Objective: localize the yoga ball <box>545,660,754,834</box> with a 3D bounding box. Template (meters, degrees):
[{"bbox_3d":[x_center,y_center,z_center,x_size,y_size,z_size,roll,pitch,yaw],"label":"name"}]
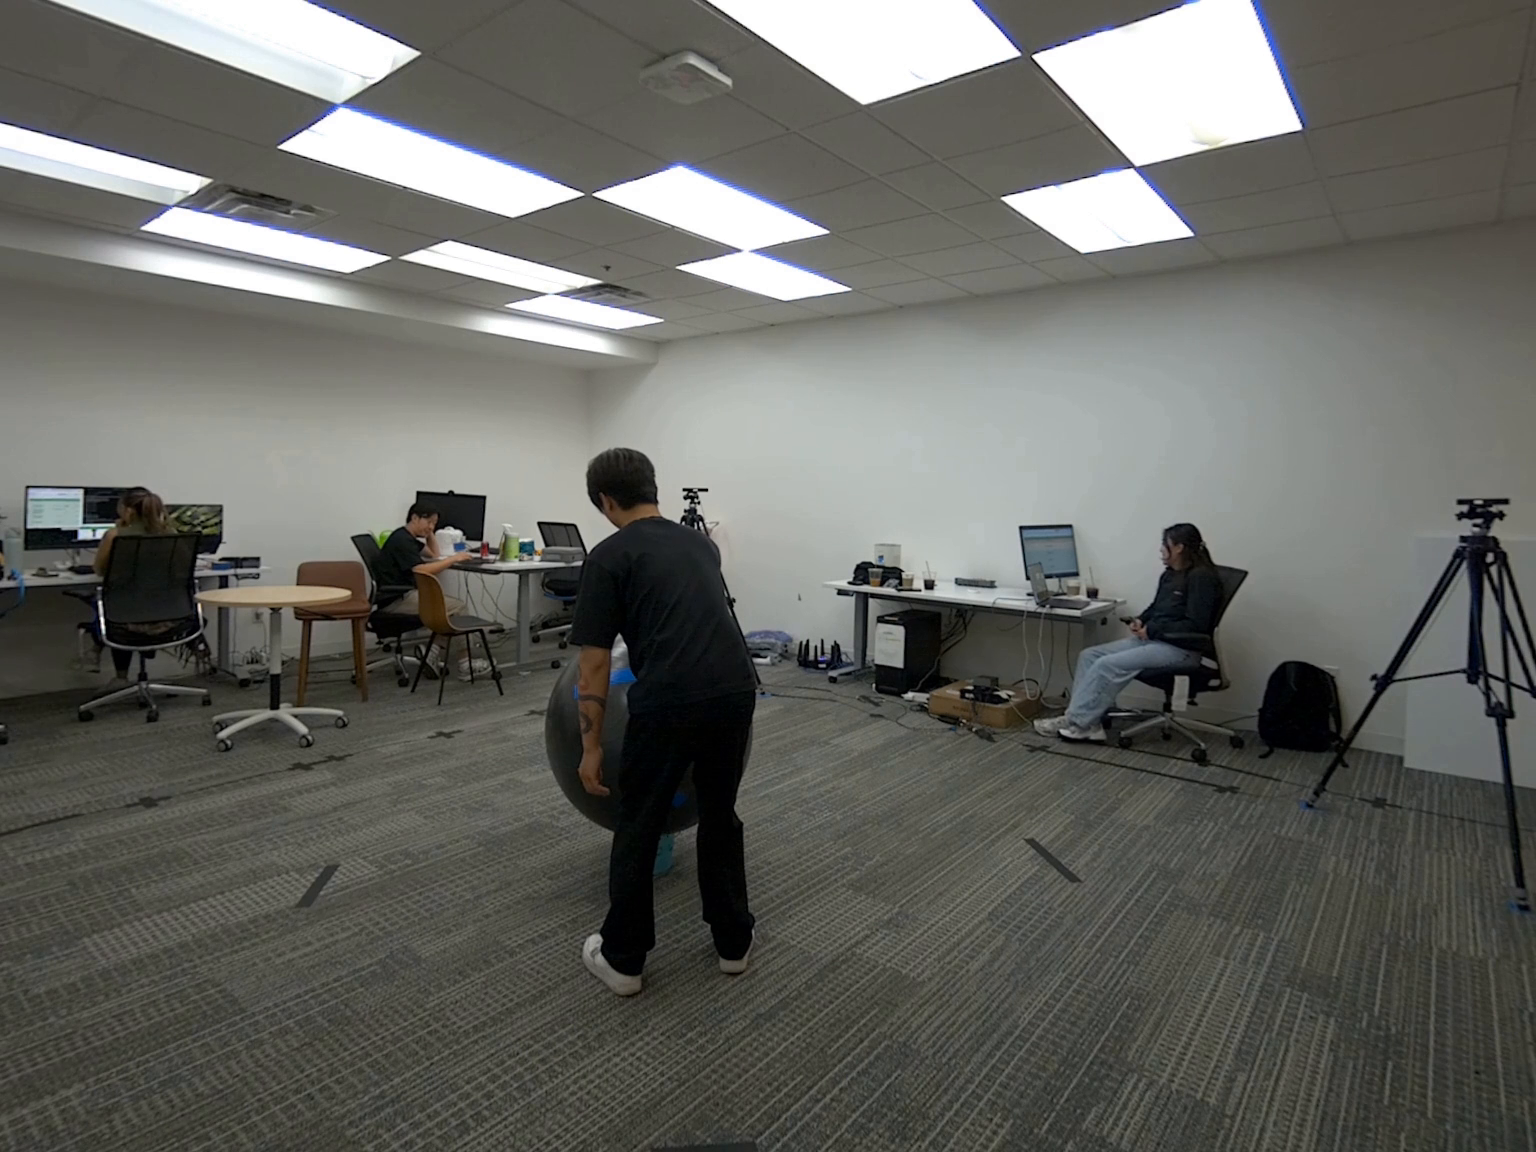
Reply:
[{"bbox_3d":[-0.444,0.556,3.127,0.757,0.756,0.762,1,4,-2],"label":"yoga ball"}]
